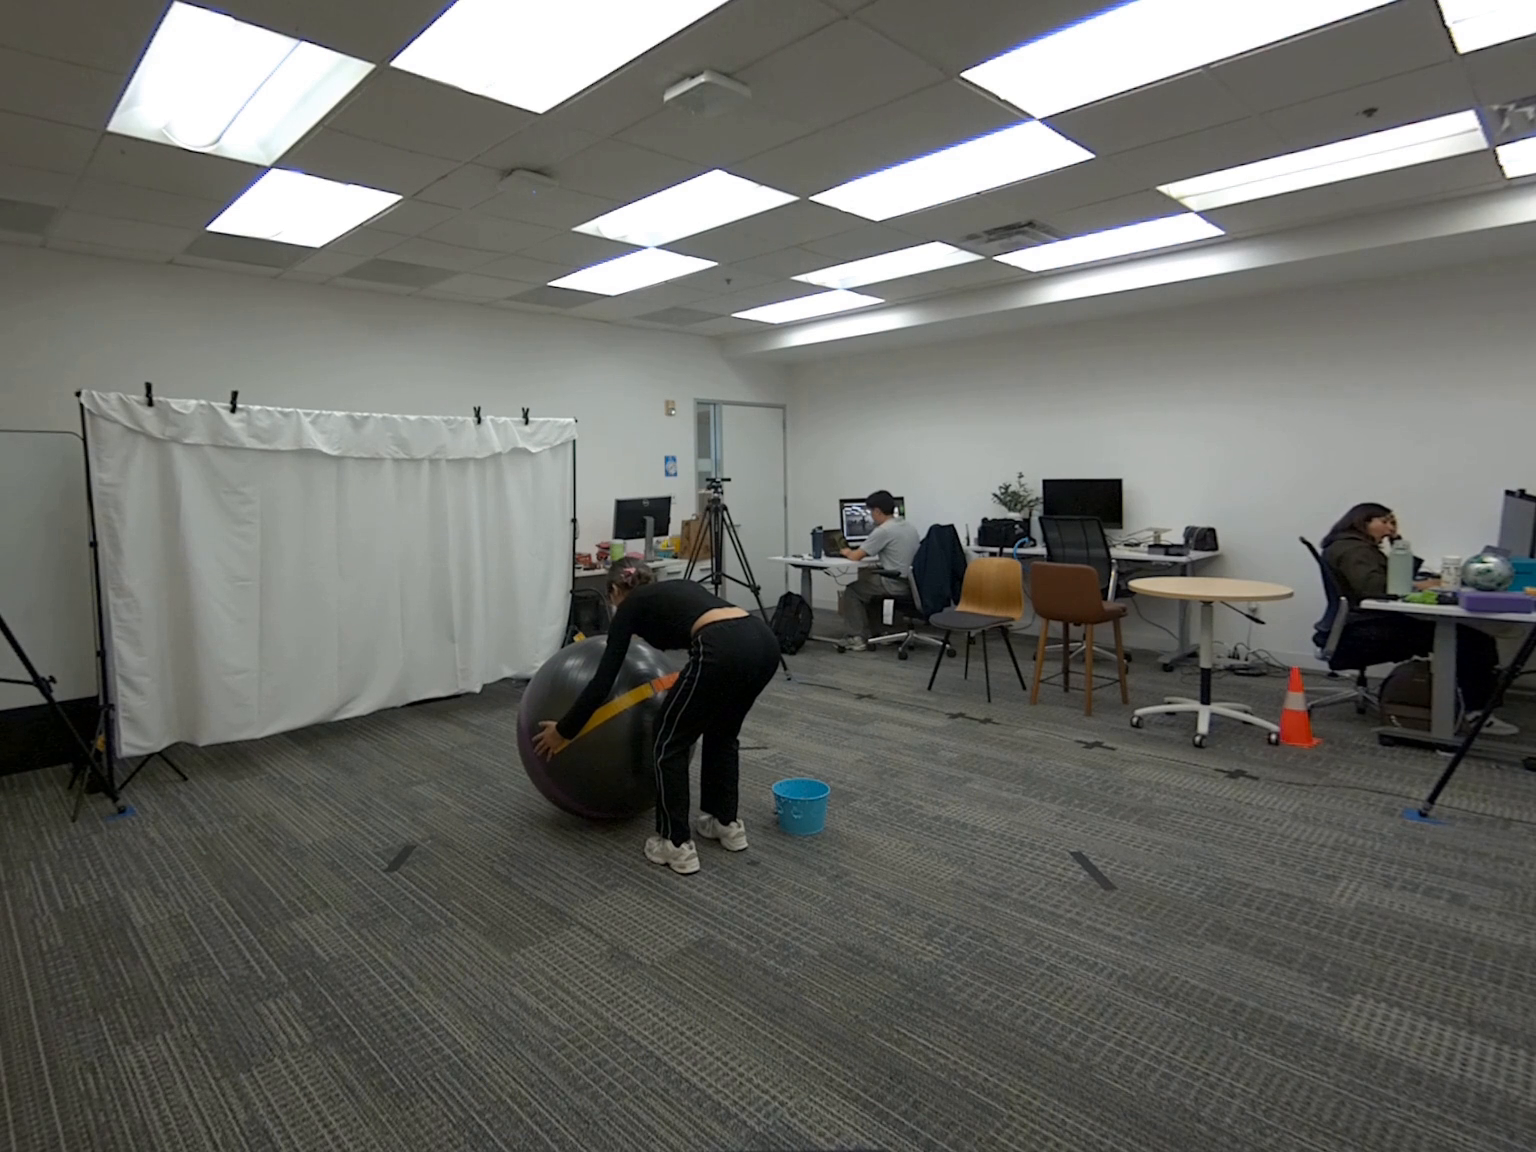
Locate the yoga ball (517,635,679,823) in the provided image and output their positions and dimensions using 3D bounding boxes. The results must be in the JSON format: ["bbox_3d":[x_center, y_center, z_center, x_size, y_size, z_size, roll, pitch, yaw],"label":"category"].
[{"bbox_3d":[-0.683,0.633,3.599,0.757,0.755,0.762,-1,5,-2],"label":"yoga ball"}]
